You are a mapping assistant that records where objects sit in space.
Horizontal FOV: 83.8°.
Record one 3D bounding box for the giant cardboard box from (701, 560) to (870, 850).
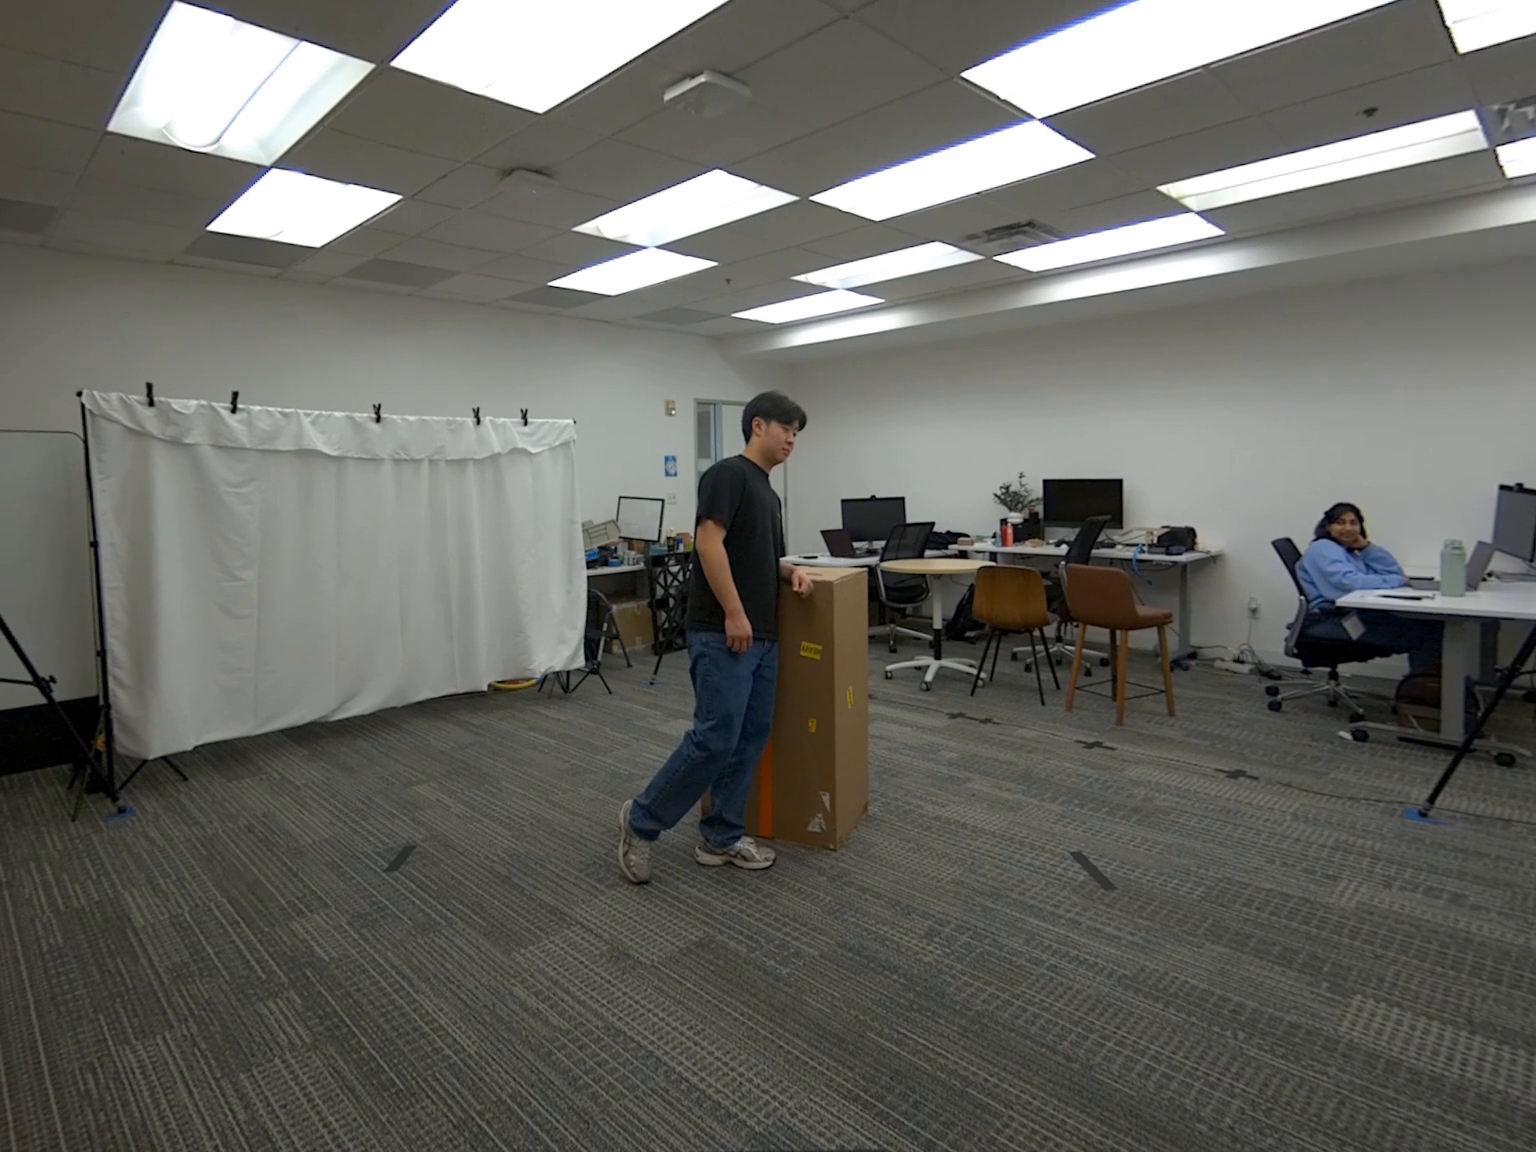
[{"bbox_3d":[0.075,0.485,3.476,0.598,1.023,0.438,2,5,27],"label":"giant cardboard box"}]
